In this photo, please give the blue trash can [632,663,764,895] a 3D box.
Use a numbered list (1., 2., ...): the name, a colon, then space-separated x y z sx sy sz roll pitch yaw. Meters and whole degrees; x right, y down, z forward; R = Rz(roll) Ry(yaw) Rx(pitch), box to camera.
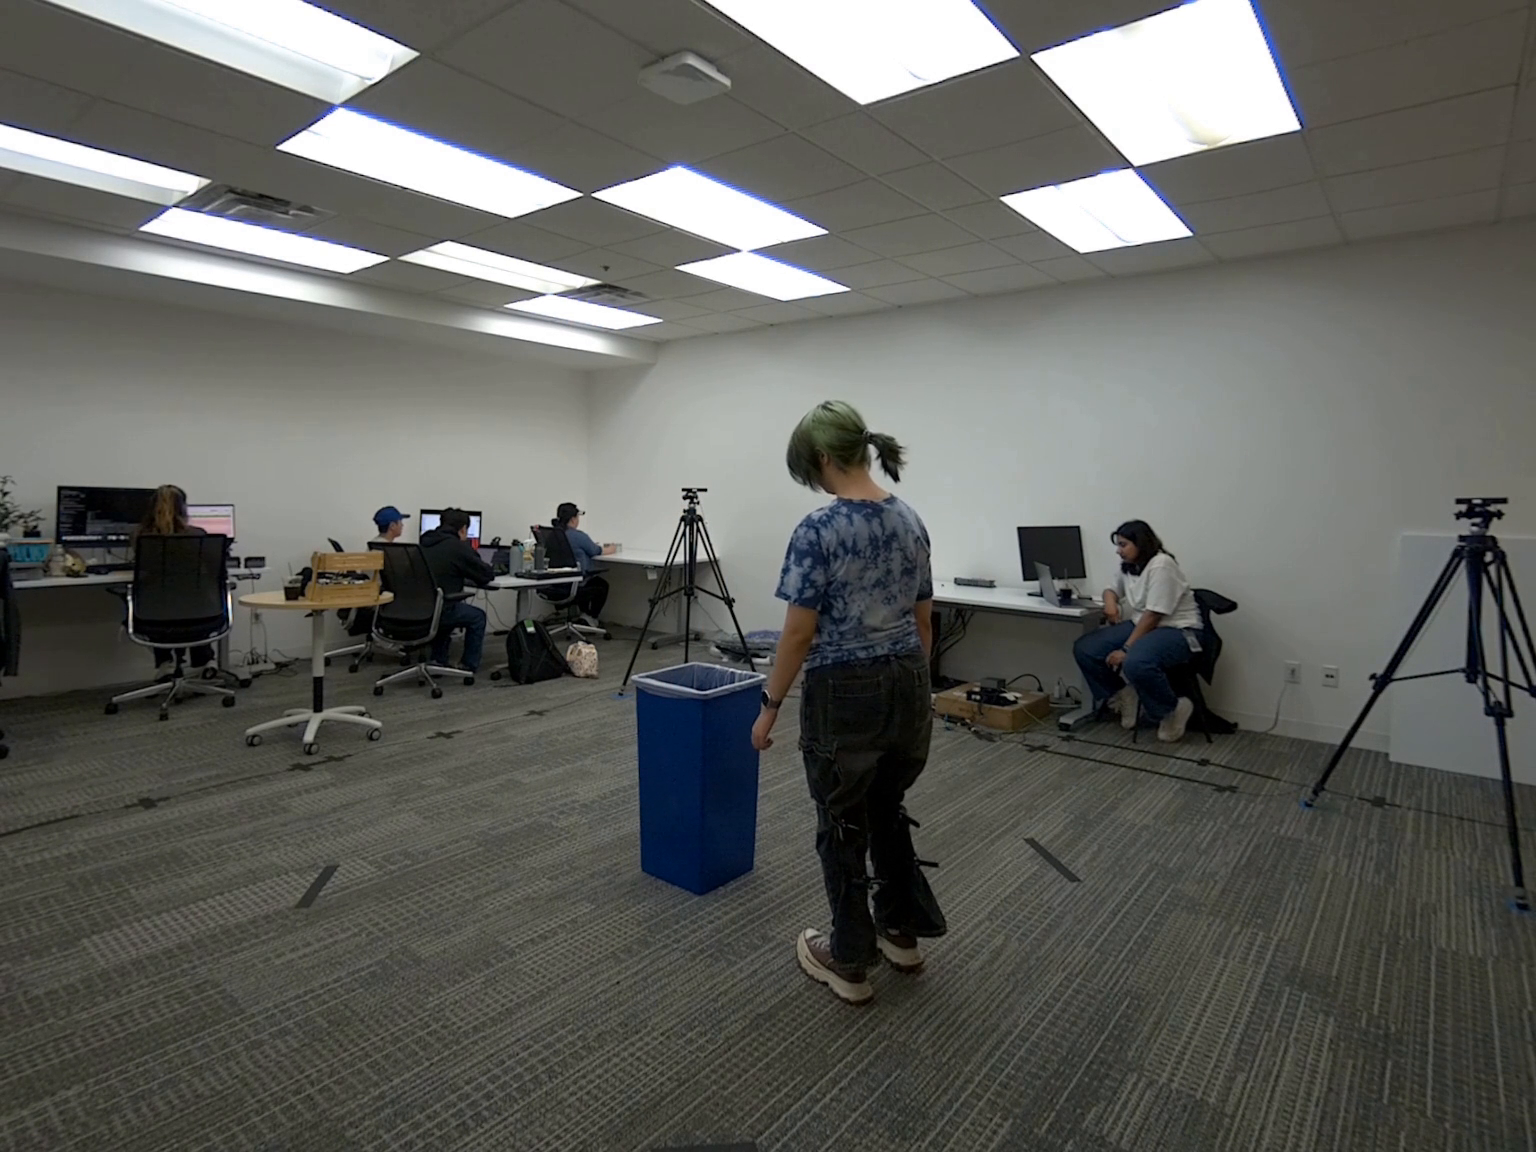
1. blue trash can: -0.264 0.714 3.085 0.390 0.712 0.363 3 3 38
